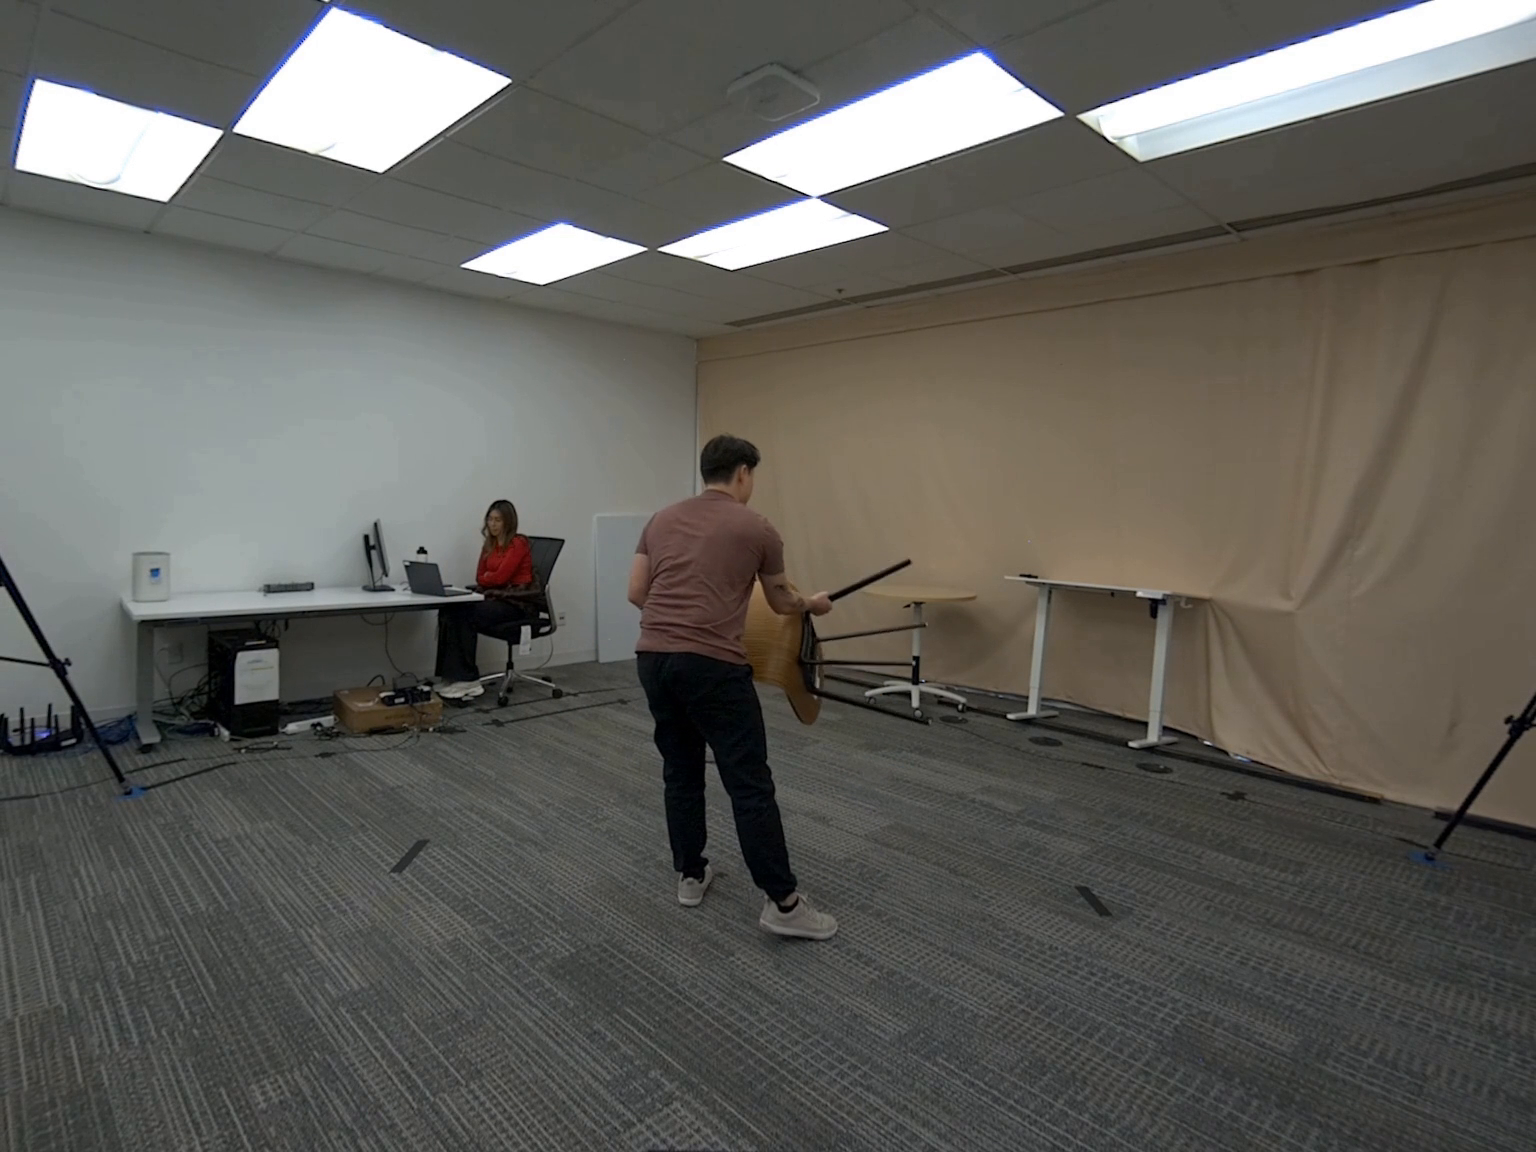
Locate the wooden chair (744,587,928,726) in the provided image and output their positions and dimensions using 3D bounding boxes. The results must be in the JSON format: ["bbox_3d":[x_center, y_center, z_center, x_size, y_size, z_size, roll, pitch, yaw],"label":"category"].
[{"bbox_3d":[0.147,0.294,3.276,0.887,0.487,0.508,-3,-37,14],"label":"wooden chair"}]
